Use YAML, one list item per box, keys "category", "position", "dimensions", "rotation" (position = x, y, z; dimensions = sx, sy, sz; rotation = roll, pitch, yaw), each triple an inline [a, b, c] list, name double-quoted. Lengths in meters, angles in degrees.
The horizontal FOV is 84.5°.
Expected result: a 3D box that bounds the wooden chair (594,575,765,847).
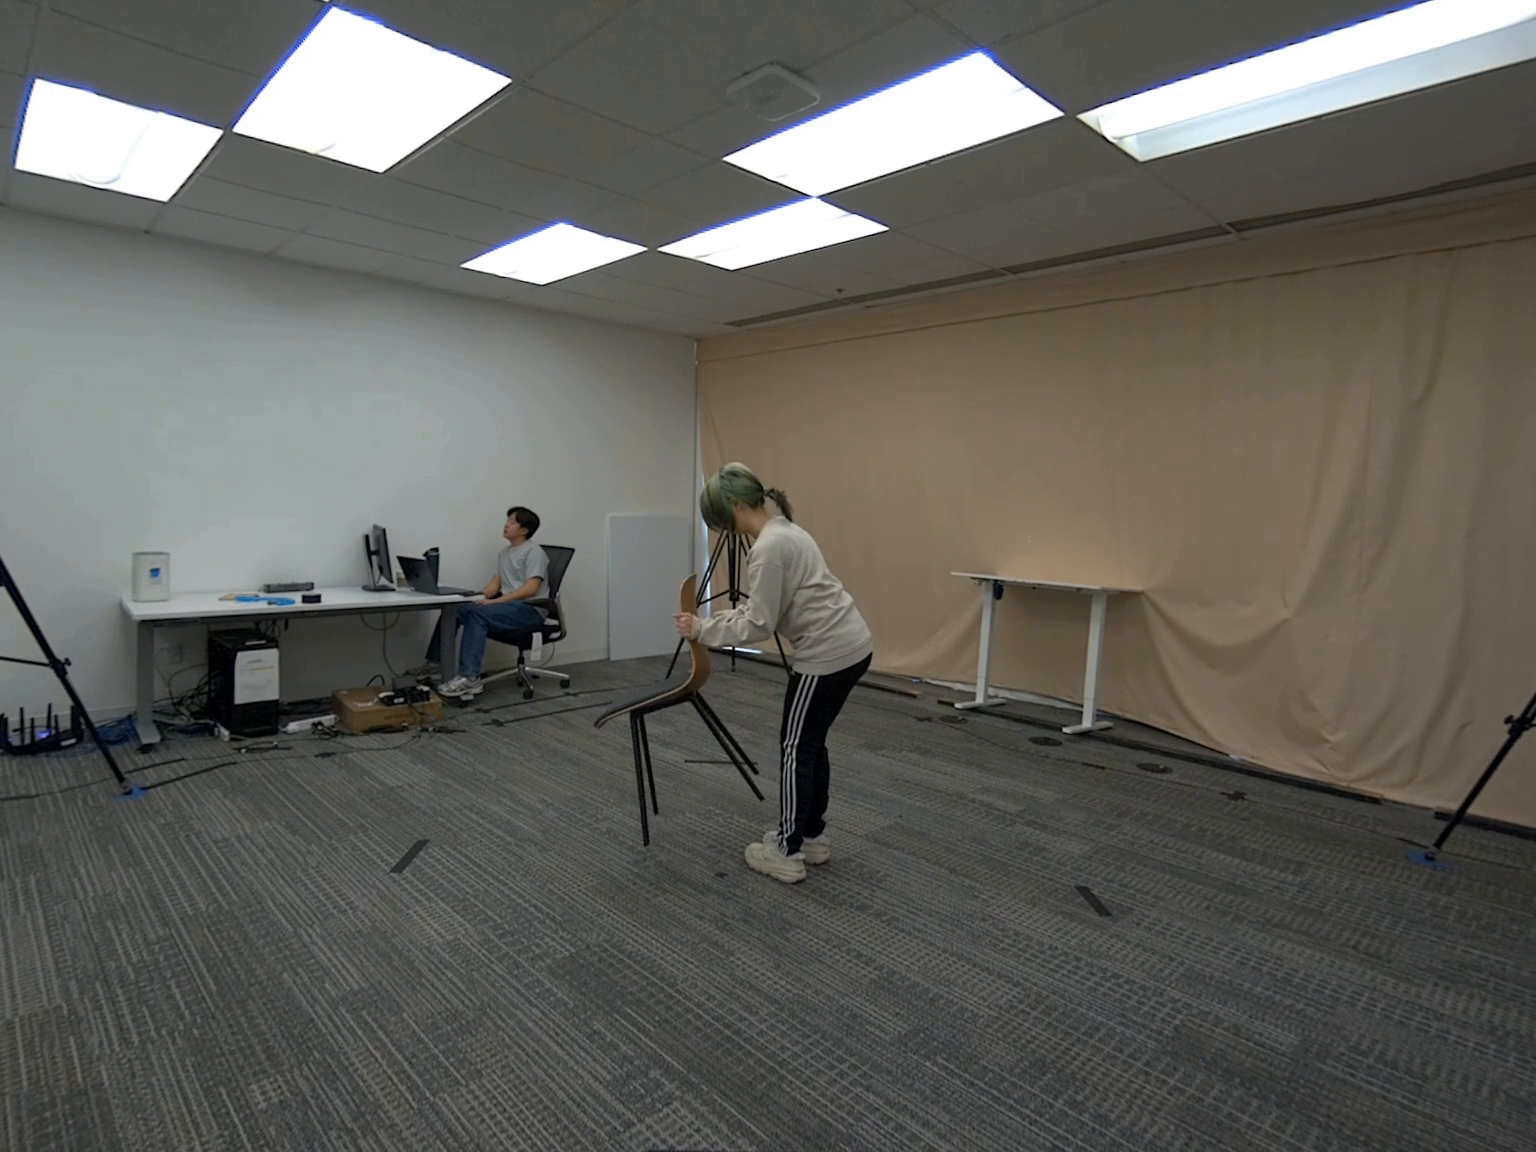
- category: "wooden chair"
  position: [-0.401, 0.487, 3.209]
  dimensions: [0.522, 0.879, 0.477]
  rotation: [-16, -2, -2]
